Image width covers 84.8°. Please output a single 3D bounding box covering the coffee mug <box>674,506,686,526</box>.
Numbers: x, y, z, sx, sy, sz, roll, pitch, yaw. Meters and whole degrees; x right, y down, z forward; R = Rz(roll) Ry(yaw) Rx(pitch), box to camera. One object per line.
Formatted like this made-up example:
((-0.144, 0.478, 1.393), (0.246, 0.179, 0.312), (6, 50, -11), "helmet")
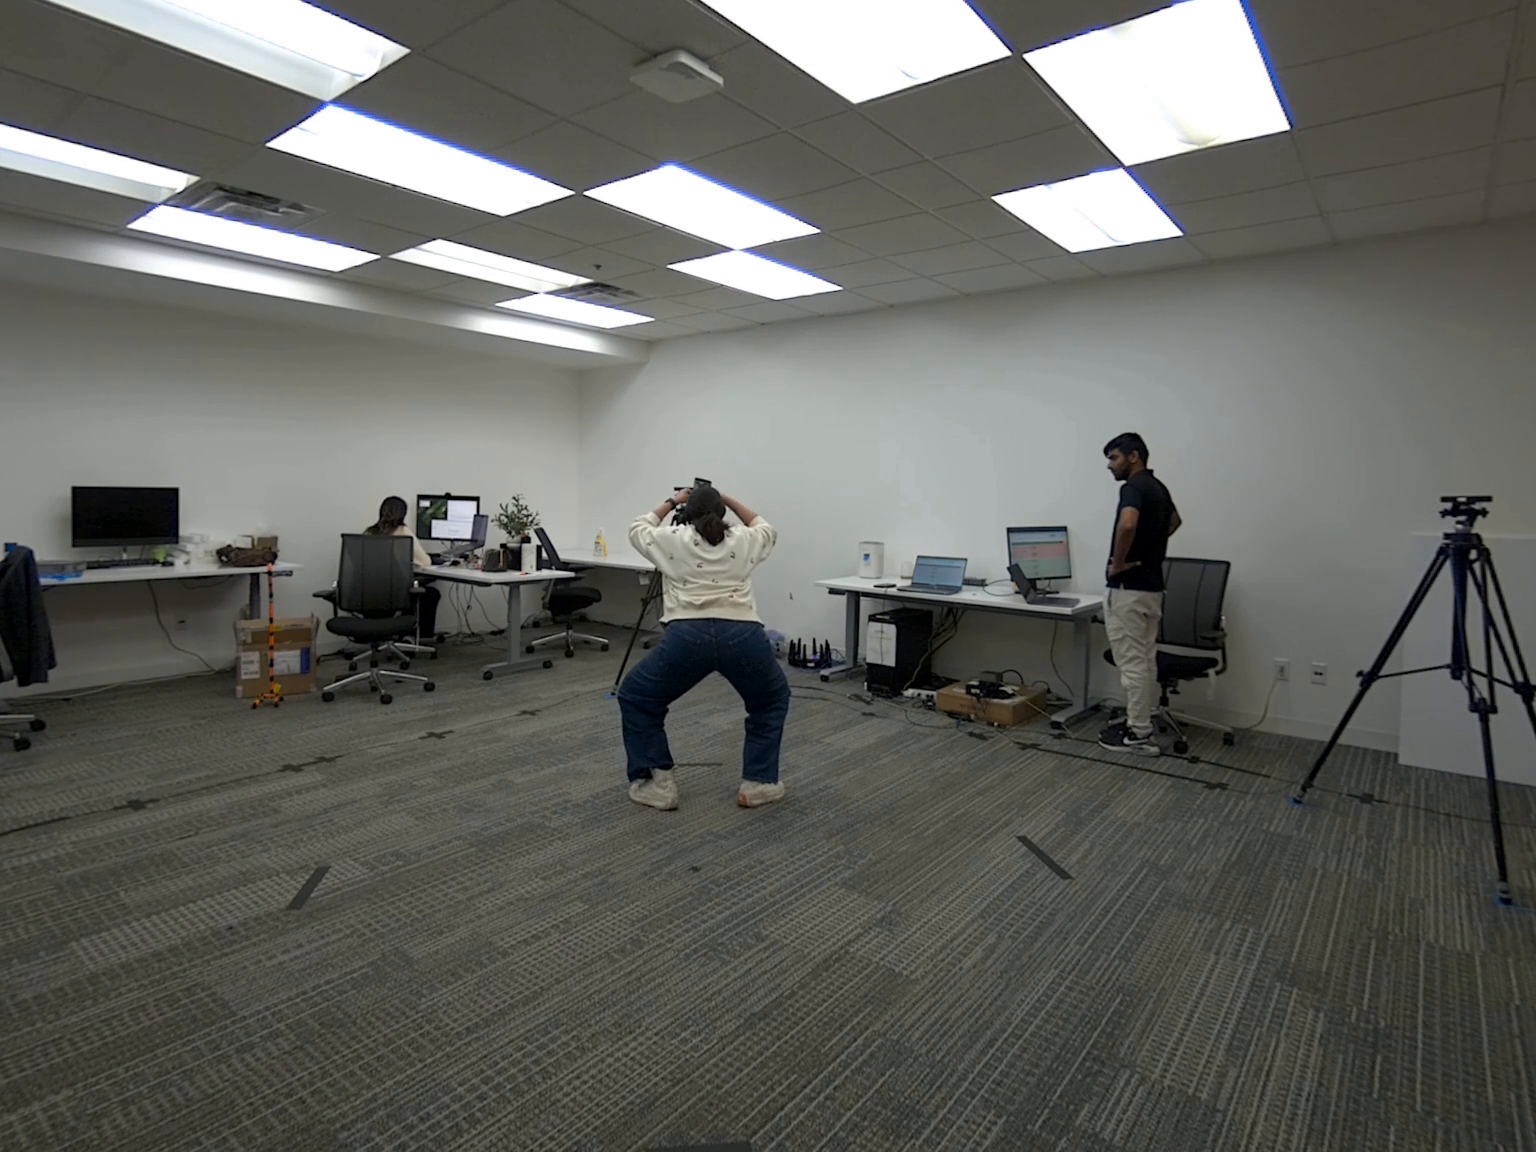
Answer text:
((-0.344, -0.376, 4.175), (0.085, 0.201, 0.126), (7, 11, -26), "coffee mug")
